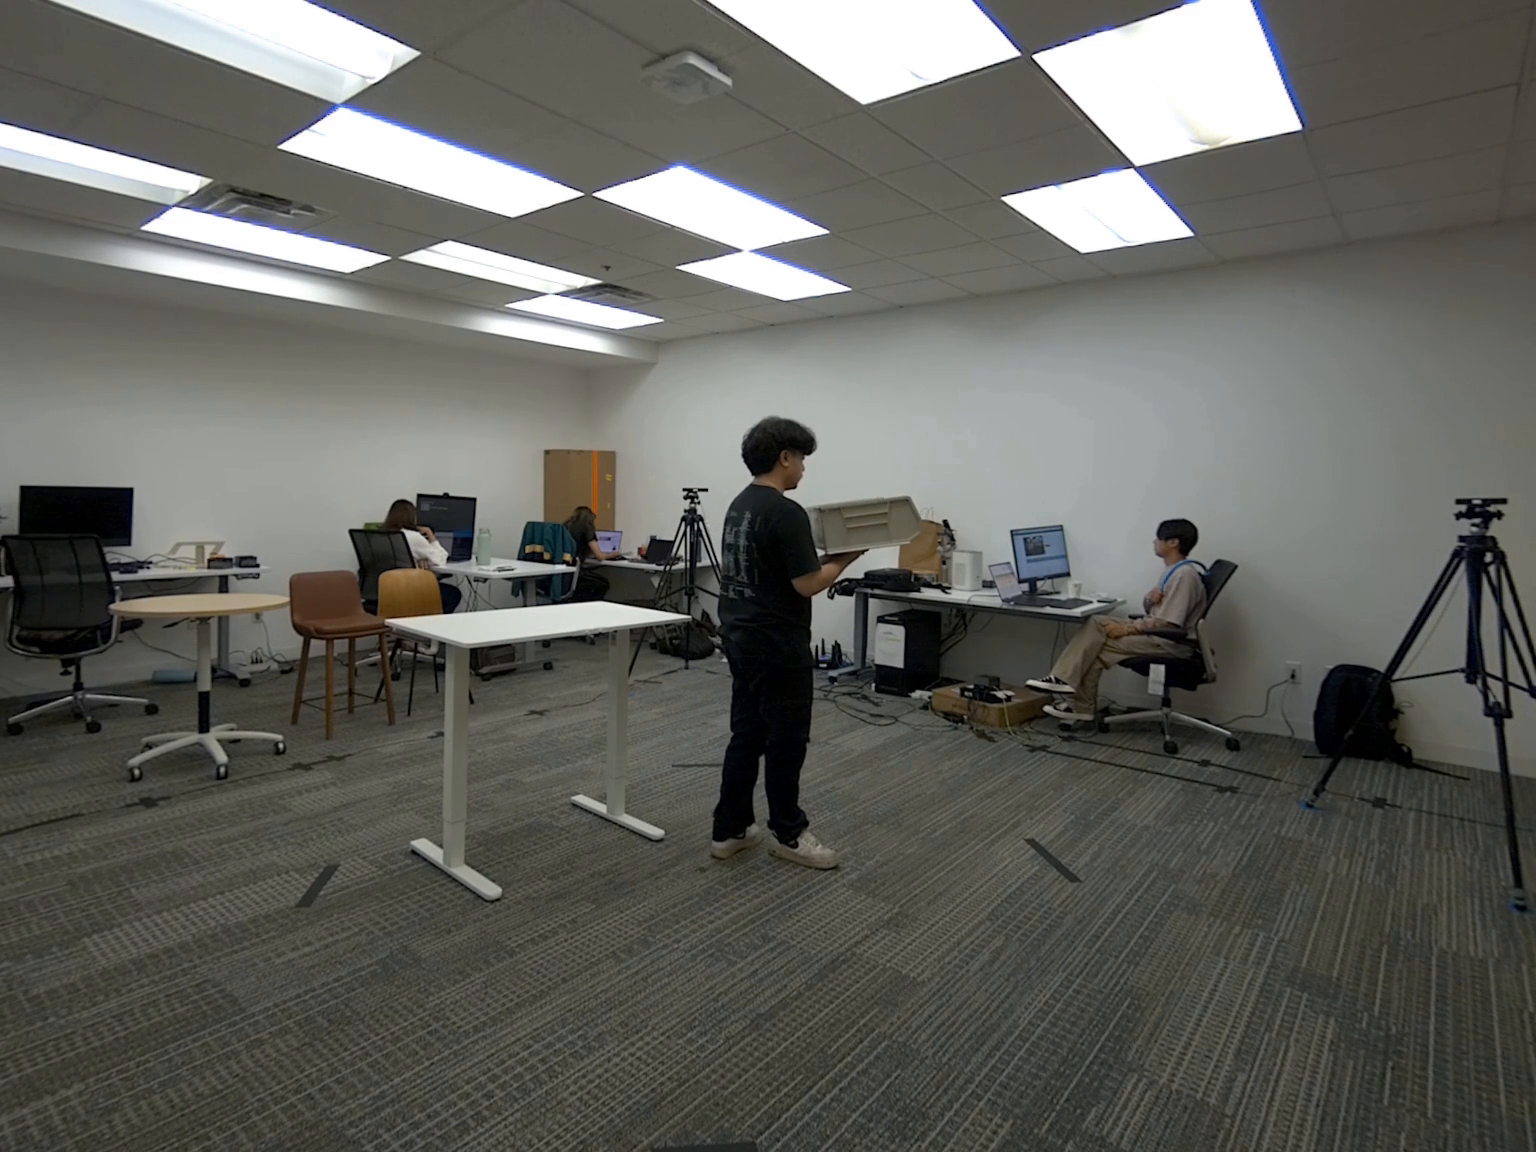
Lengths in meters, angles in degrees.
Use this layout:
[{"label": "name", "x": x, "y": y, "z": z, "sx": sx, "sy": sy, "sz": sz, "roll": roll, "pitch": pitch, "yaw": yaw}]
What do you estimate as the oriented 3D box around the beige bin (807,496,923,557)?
[{"label": "beige bin", "x": 0.361, "y": -0.206, "z": 3.343, "sx": 0.377, "sy": 0.188, "sz": 0.424, "roll": -8, "pitch": 4, "yaw": -2}]
